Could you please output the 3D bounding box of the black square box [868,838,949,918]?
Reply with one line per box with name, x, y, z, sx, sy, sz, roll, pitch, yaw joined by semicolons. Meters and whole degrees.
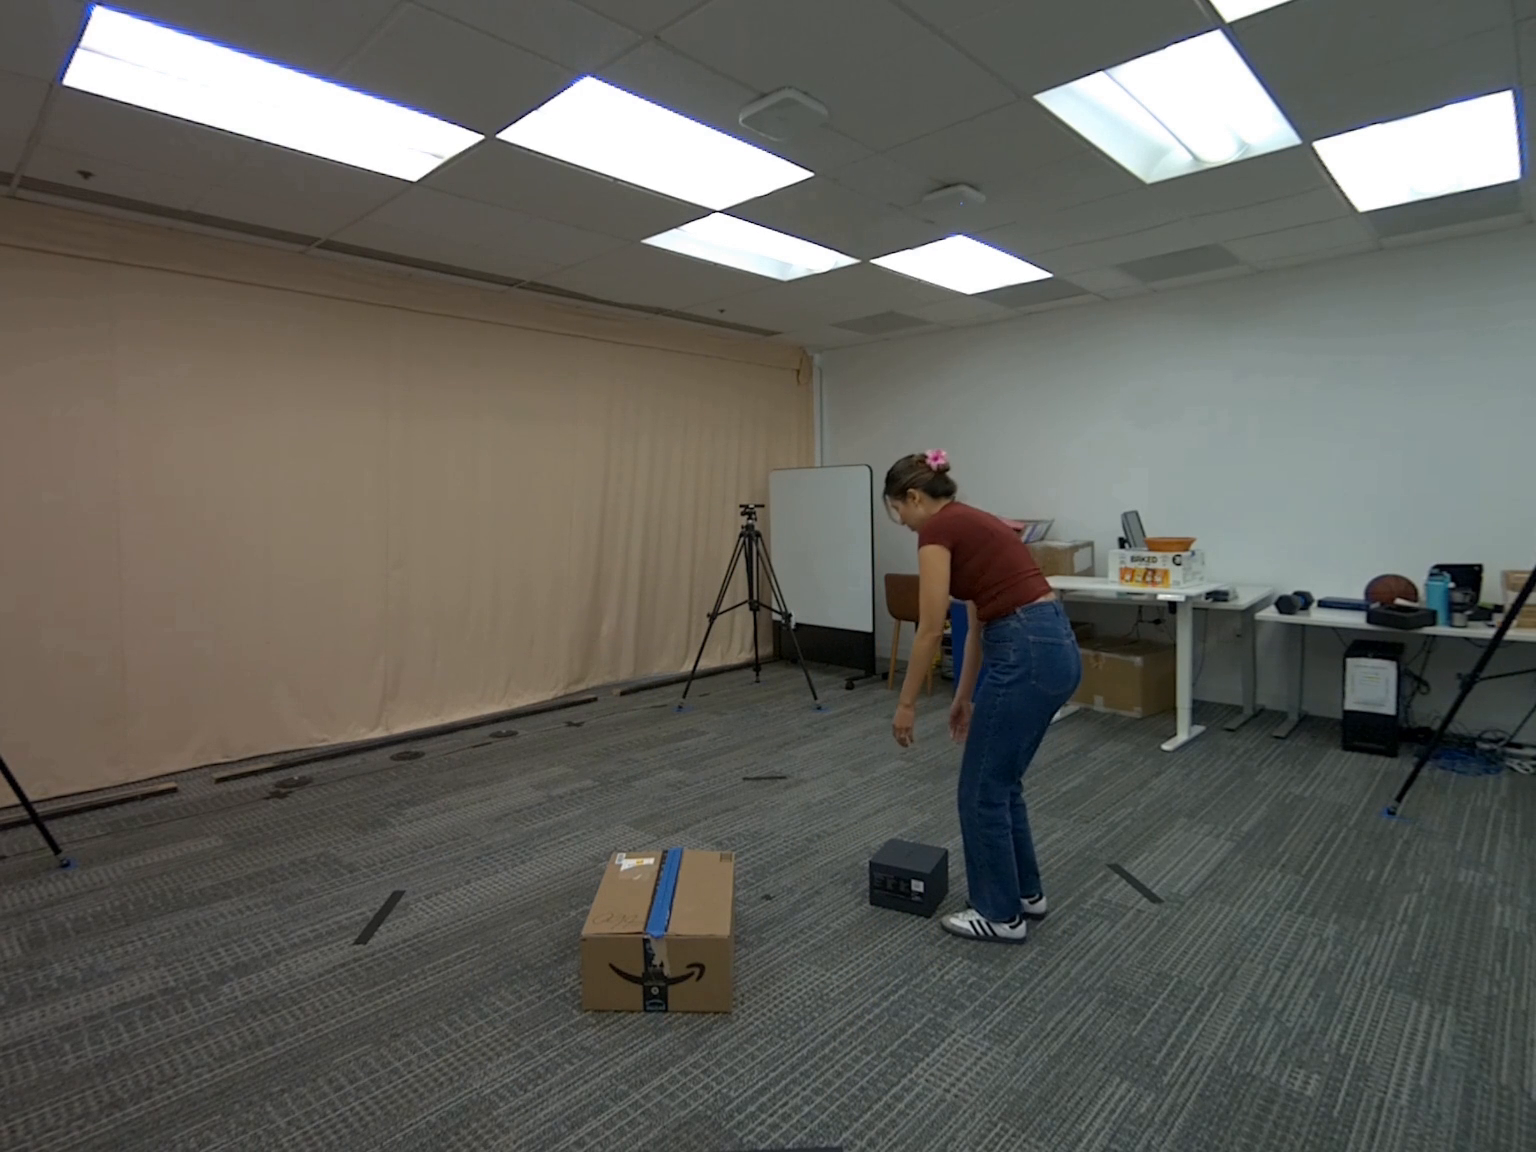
black square box;0.499;1.047;2.950;0.223;0.155;0.222;2;5;28
